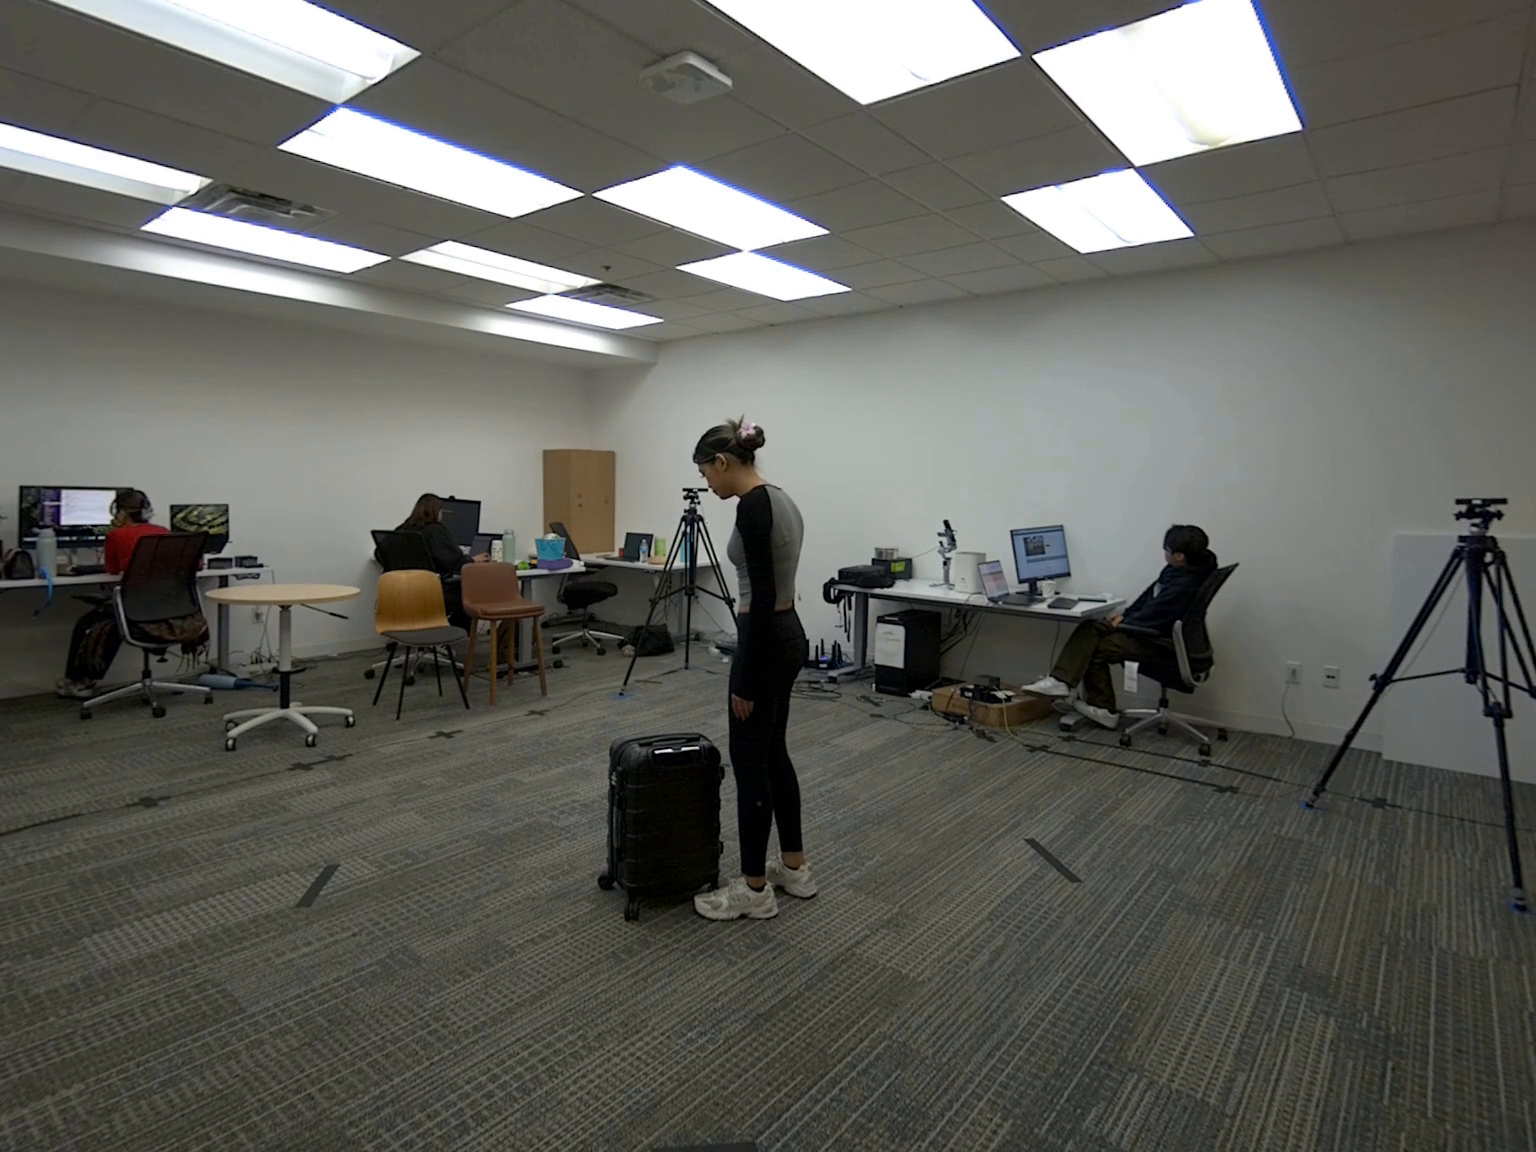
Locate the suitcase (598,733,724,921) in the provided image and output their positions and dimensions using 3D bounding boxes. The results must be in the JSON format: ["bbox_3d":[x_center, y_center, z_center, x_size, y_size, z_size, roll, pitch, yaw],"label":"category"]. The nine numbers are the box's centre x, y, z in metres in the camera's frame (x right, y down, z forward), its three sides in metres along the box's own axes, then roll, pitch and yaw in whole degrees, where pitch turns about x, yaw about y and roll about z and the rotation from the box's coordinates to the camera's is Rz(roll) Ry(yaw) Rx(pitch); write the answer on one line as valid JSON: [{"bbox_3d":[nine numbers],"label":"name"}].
[{"bbox_3d":[-0.372,0.809,2.908,0.367,0.548,0.254,-1,3,-23],"label":"suitcase"}]
